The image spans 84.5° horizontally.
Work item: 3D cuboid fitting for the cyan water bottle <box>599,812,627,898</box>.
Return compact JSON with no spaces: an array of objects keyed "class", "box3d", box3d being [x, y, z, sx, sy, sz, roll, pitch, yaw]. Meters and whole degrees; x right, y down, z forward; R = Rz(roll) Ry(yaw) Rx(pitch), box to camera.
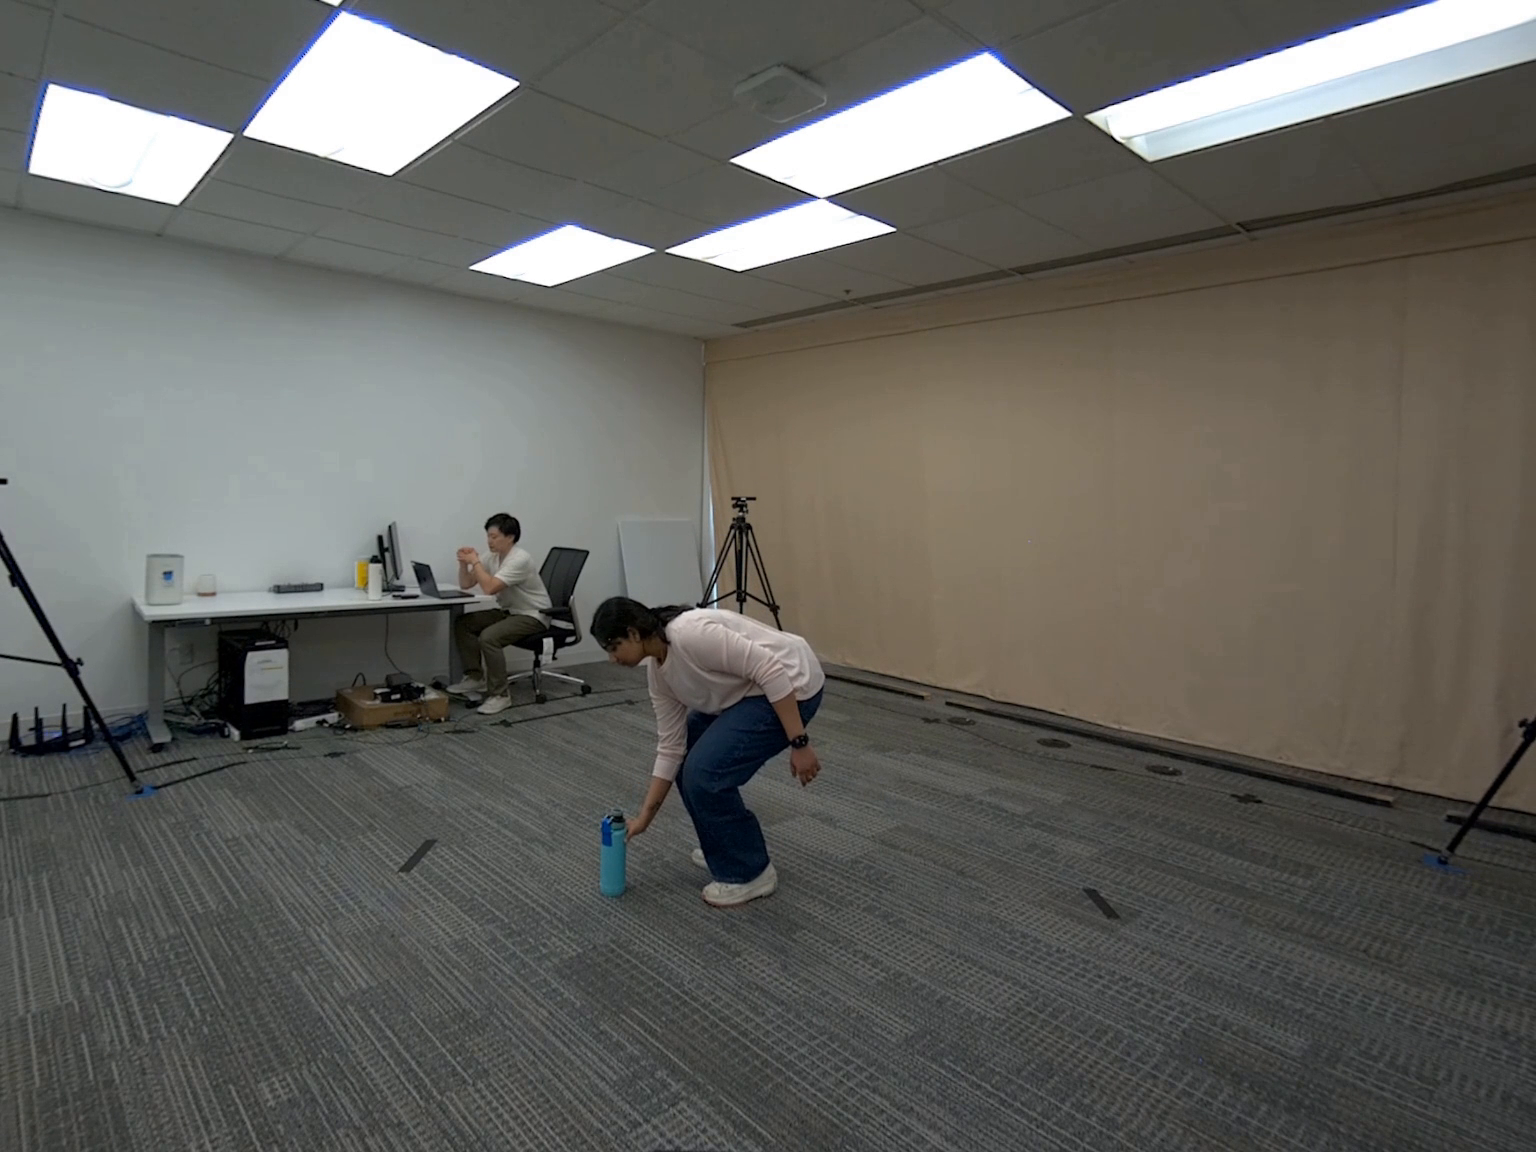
[{"class":"cyan water bottle","box3d":[-0.545,0.966,2.962,0.092,0.283,0.092,2,3,-2]}]
